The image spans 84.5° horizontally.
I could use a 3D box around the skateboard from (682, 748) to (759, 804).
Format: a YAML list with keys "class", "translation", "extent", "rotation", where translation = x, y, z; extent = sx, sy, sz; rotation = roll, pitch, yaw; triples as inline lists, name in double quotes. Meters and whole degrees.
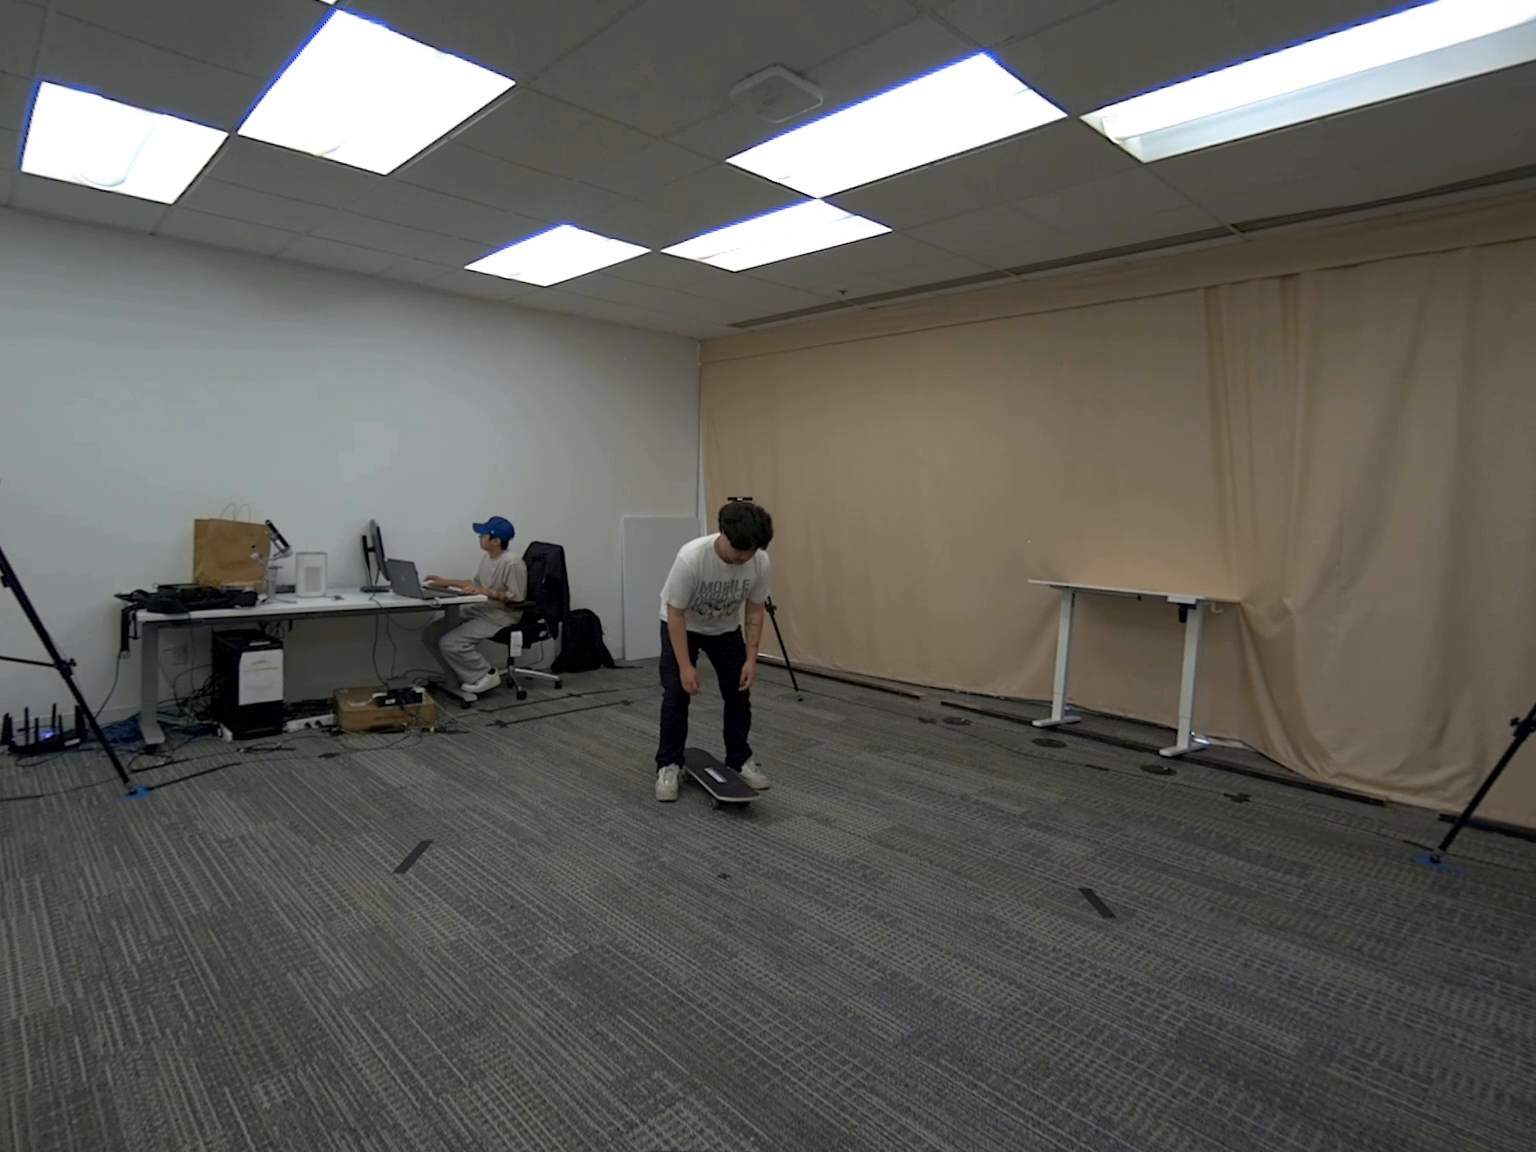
- class: "skateboard"
  translation: [-0.266, 0.976, 3.997]
  extent: [0.190, 0.110, 0.801]
  rotation: [-1, 5, -25]
